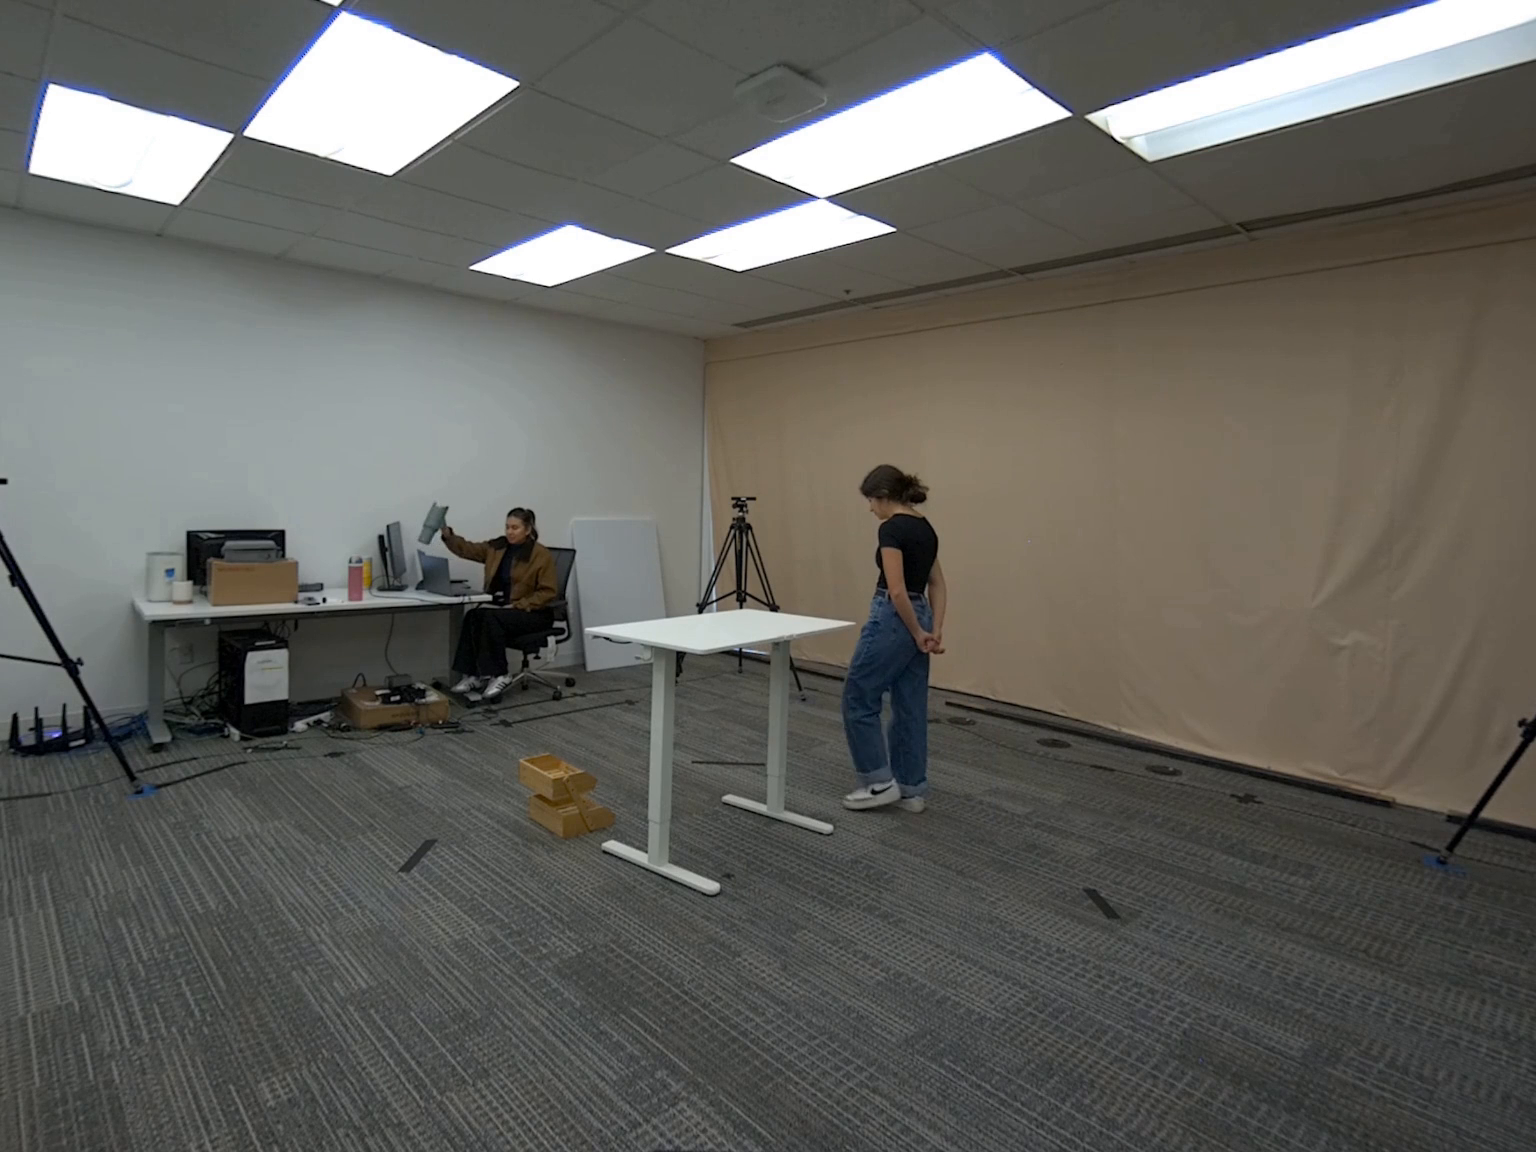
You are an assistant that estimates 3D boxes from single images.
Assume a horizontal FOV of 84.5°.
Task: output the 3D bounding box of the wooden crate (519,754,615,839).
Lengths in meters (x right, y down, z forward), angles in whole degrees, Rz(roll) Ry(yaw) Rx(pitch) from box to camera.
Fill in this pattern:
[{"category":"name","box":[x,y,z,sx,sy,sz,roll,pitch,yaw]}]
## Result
[{"category":"wooden crate","box":[-0.865,0.916,3.580,0.295,0.272,0.333,-3,7,-42]}]
